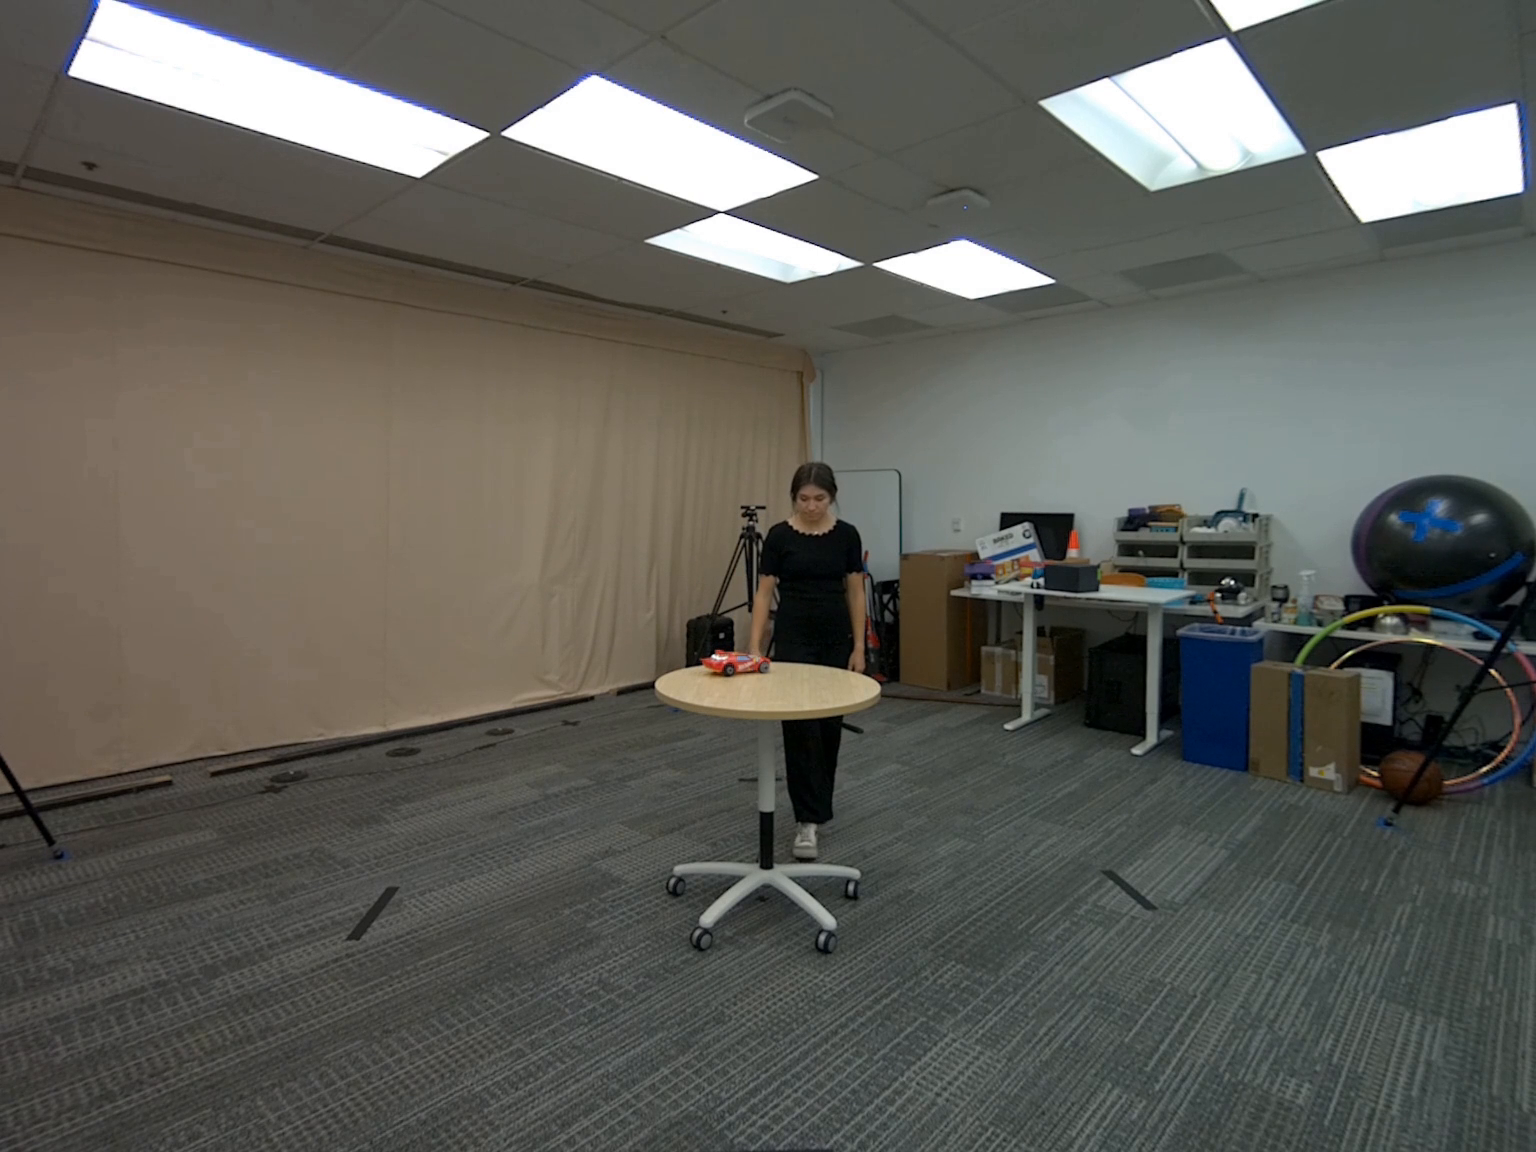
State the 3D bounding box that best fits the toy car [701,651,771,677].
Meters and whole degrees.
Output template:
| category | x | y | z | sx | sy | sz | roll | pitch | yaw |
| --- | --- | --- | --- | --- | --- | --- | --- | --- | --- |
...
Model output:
| category | x | y | z | sx | sy | sz | roll | pitch | yaw |
| --- | --- | --- | --- | --- | --- | --- | --- | --- | --- |
| toy car | -0.121 | 0.318 | 3.051 | 0.247 | 0.083 | 0.134 | 11 | -2 | -28 |
